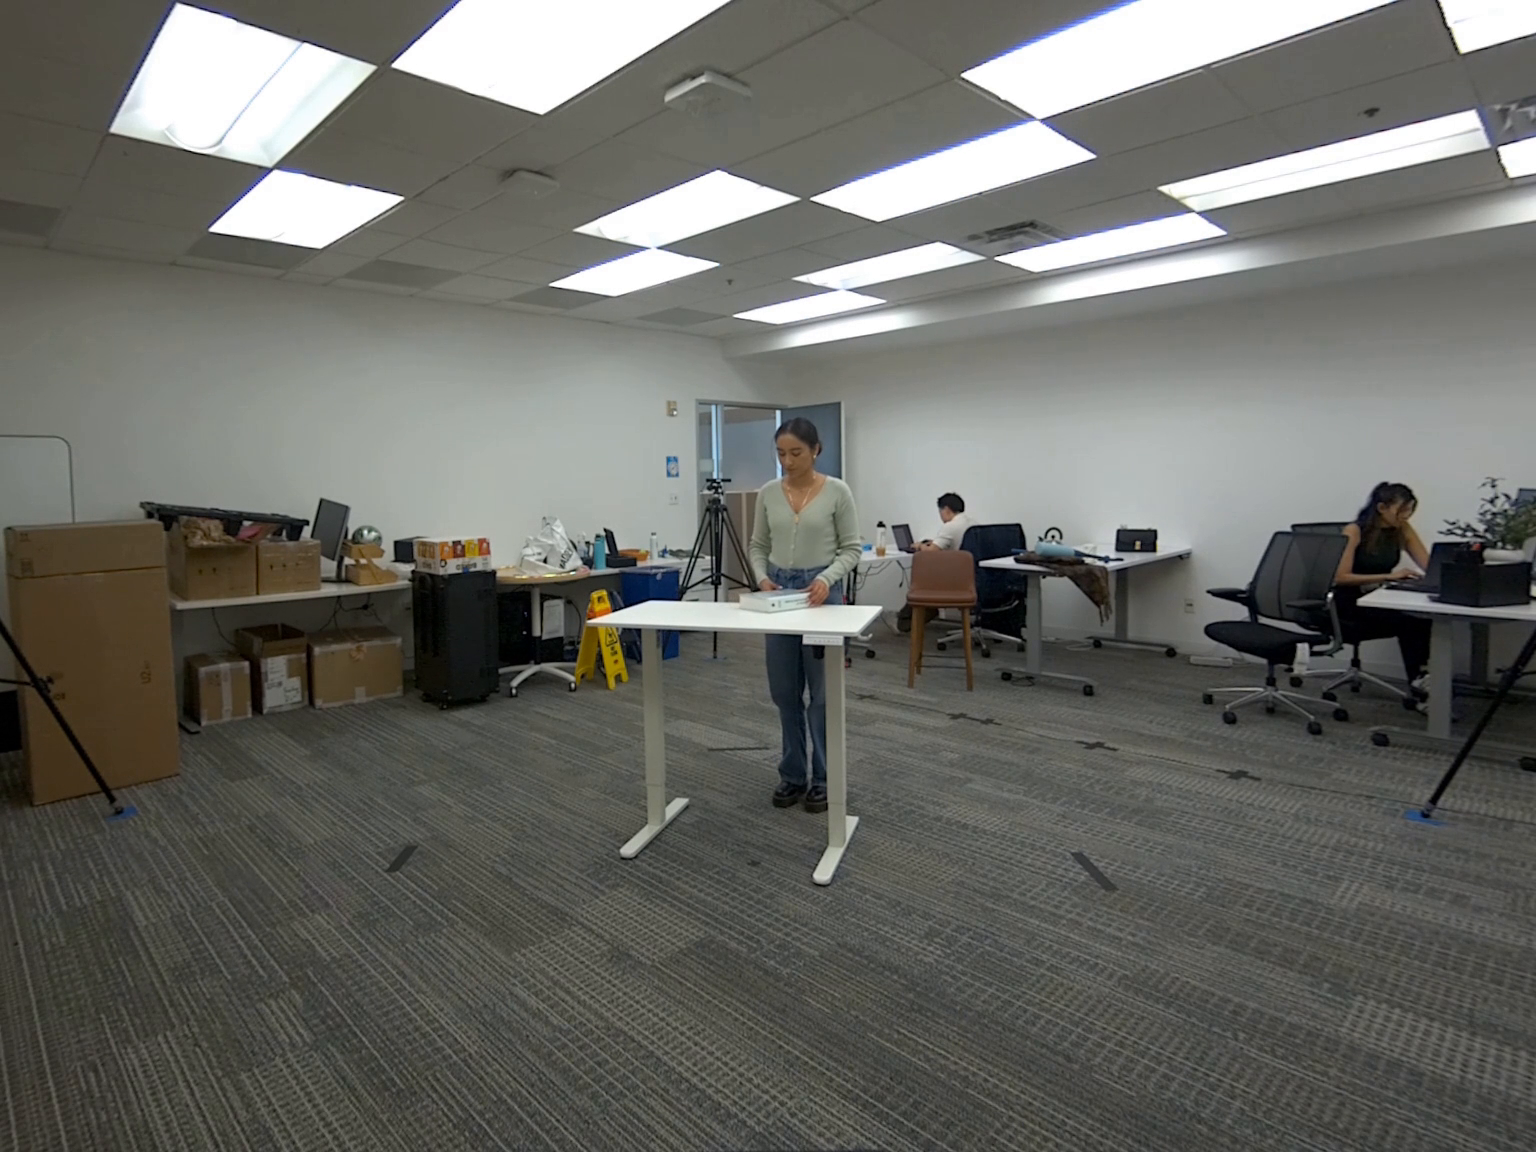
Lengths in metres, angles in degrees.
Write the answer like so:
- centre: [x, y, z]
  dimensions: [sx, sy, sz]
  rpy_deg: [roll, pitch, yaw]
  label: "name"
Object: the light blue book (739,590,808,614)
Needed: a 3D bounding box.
- centre: [0.033, 0.101, 3.410]
  dimensions: [0.254, 0.059, 0.197]
  rpy_deg: [-6, 7, -40]
  label: "light blue book"
